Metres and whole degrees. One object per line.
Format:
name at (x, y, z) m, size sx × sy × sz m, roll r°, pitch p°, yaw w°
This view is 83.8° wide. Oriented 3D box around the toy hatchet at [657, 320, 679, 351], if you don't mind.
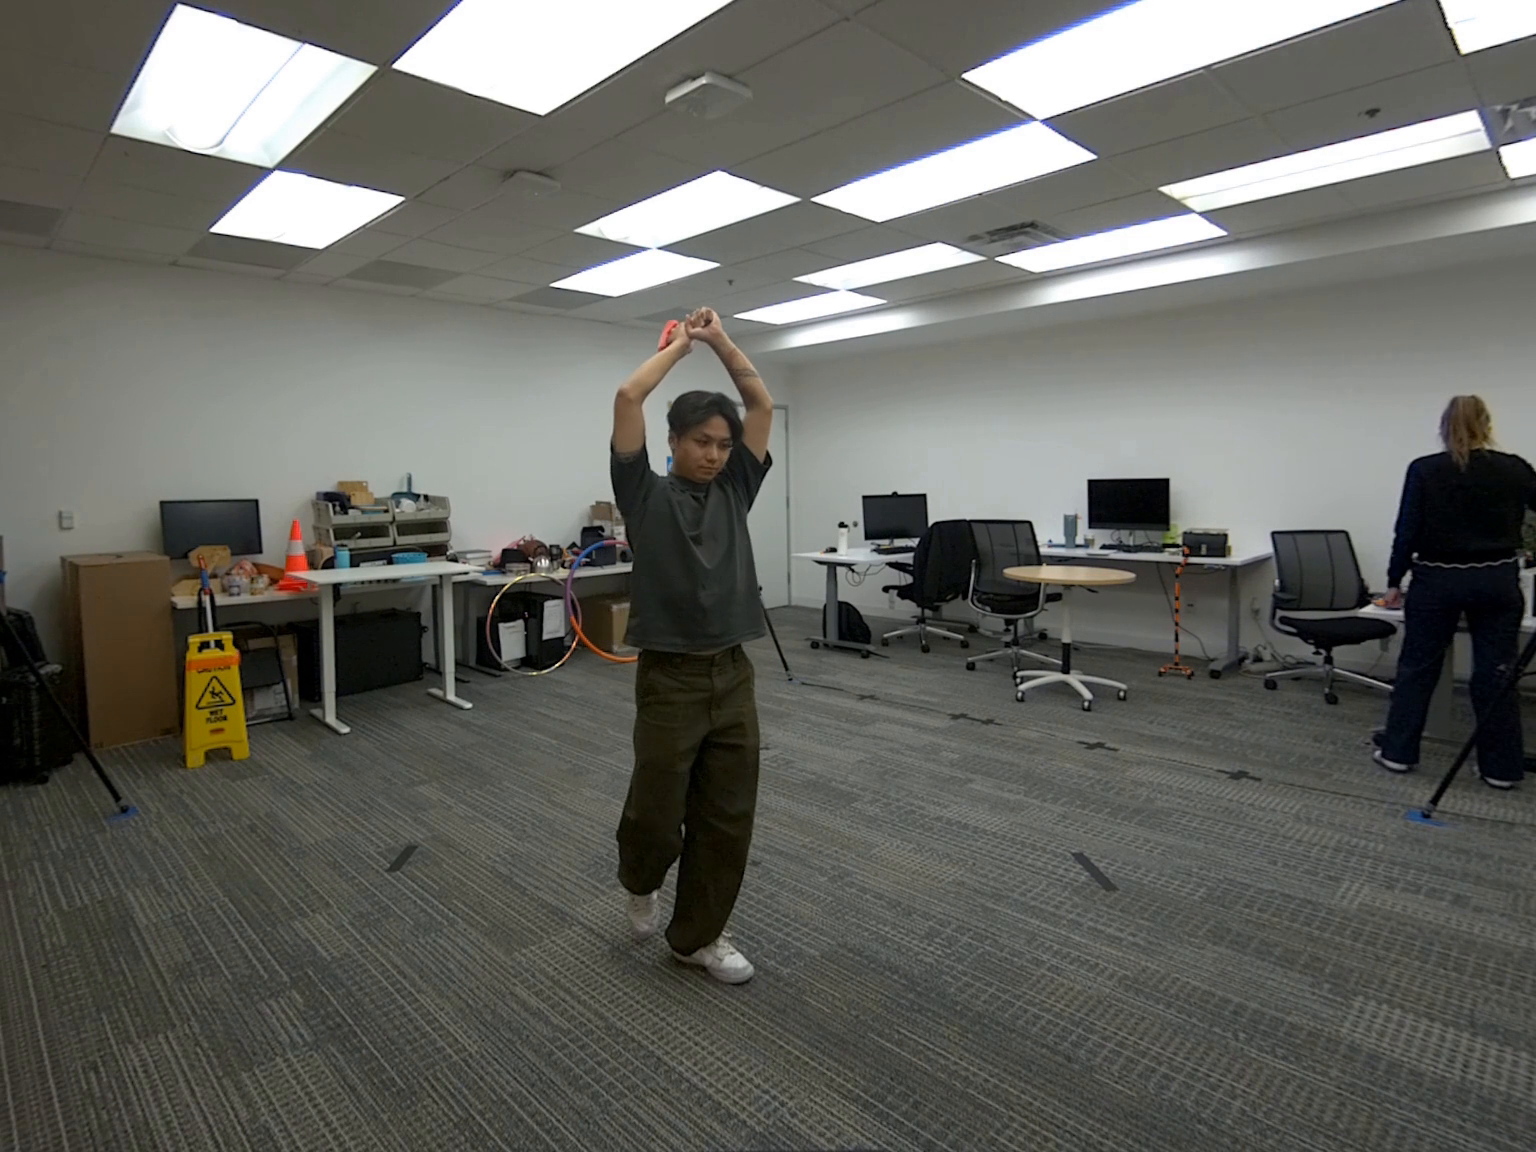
toy hatchet at (-0.257, -0.740, 2.516) m, size 0.029 × 0.133 × 0.273 m, roll 16°, pitch -23°, yaw -28°
